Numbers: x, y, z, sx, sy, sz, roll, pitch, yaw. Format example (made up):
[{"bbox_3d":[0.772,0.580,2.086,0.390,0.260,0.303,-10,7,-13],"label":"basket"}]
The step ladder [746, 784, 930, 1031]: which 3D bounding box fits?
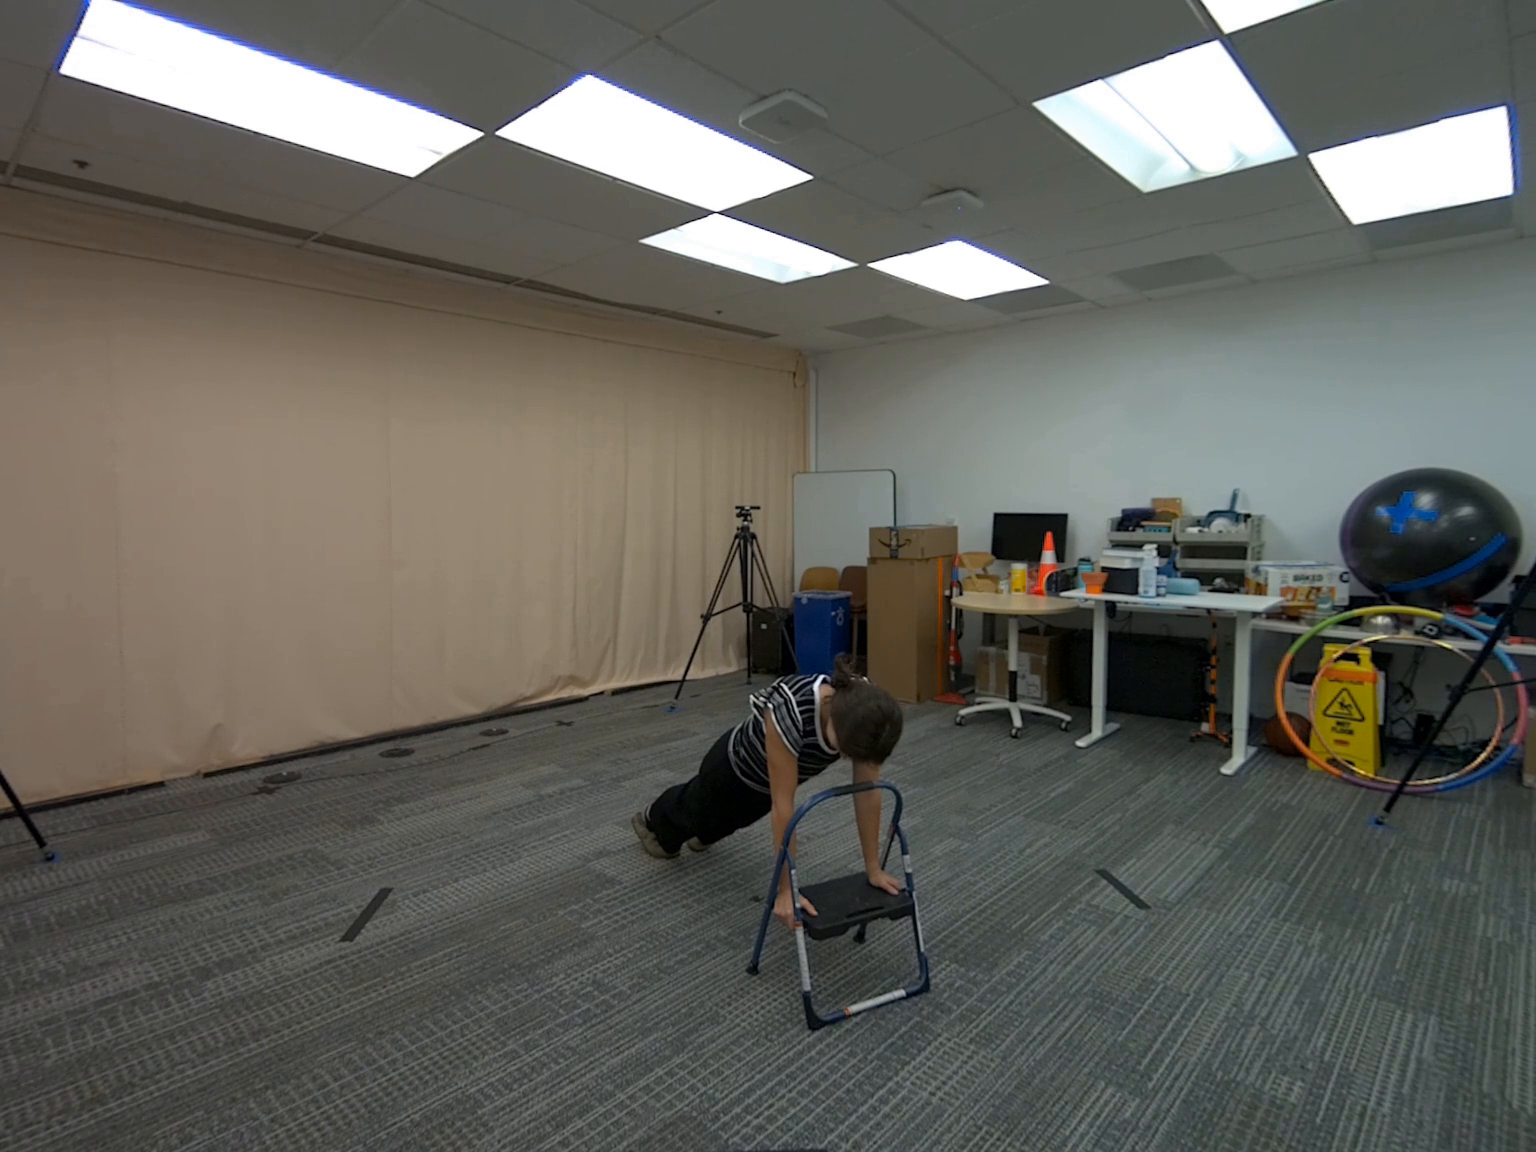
[{"bbox_3d":[0.211,0.888,2.454,0.419,0.604,0.359,-2,5,-30],"label":"step ladder"}]
